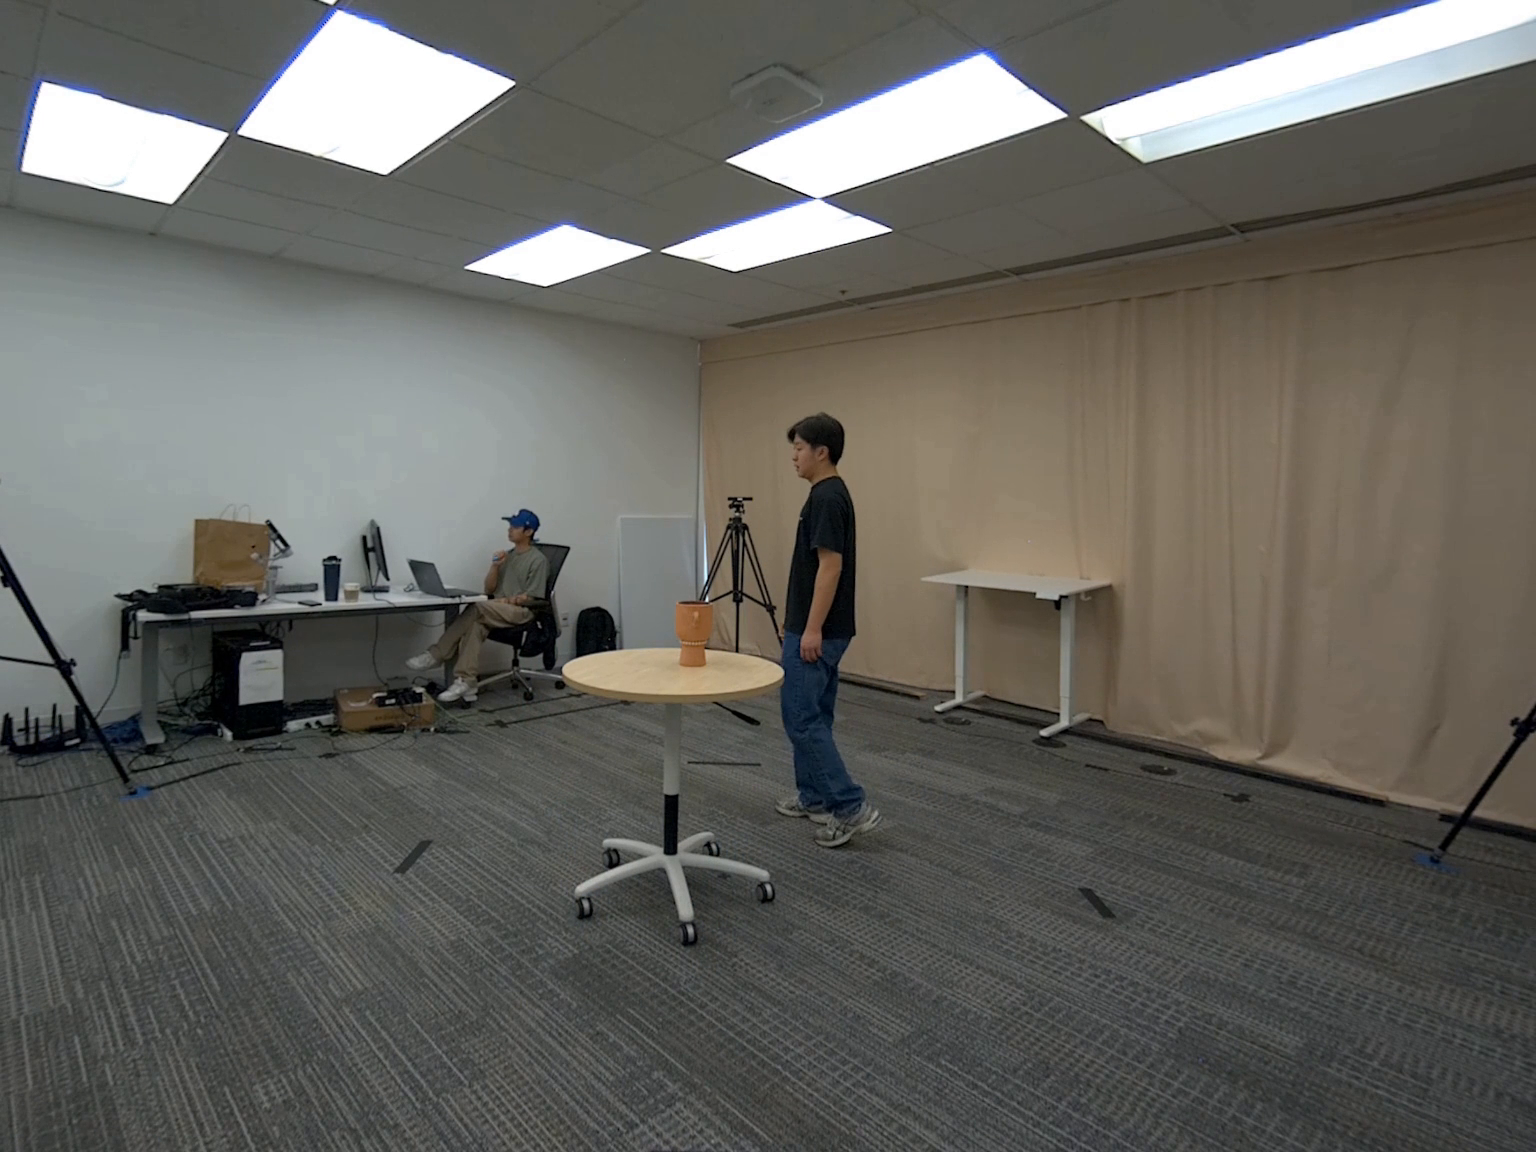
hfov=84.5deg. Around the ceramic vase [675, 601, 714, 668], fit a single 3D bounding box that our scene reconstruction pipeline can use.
[{"bbox_3d":[-0.271,0.207,2.999,0.138,0.219,0.156,5,5,30],"label":"ceramic vase"}]
